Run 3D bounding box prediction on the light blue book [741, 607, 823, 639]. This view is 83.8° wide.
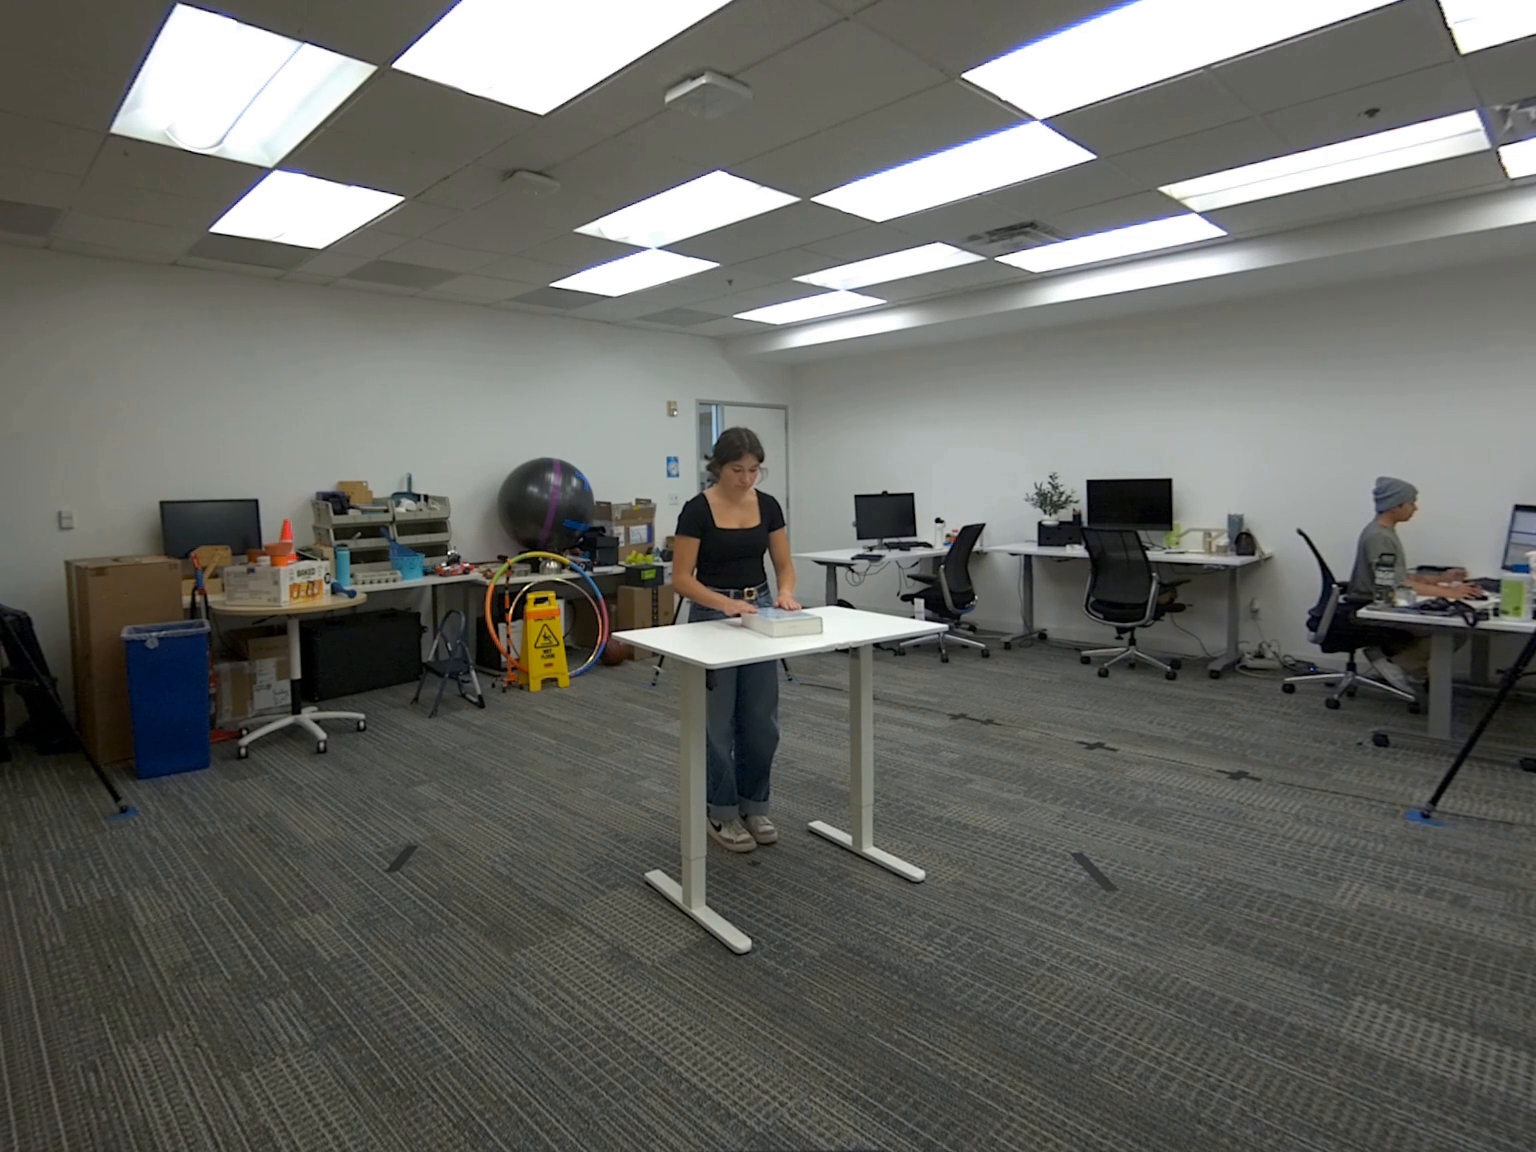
[{"bbox_3d":[0.031,0.160,2.905,0.187,0.059,0.267,-3,5,-24],"label":"light blue book"}]
